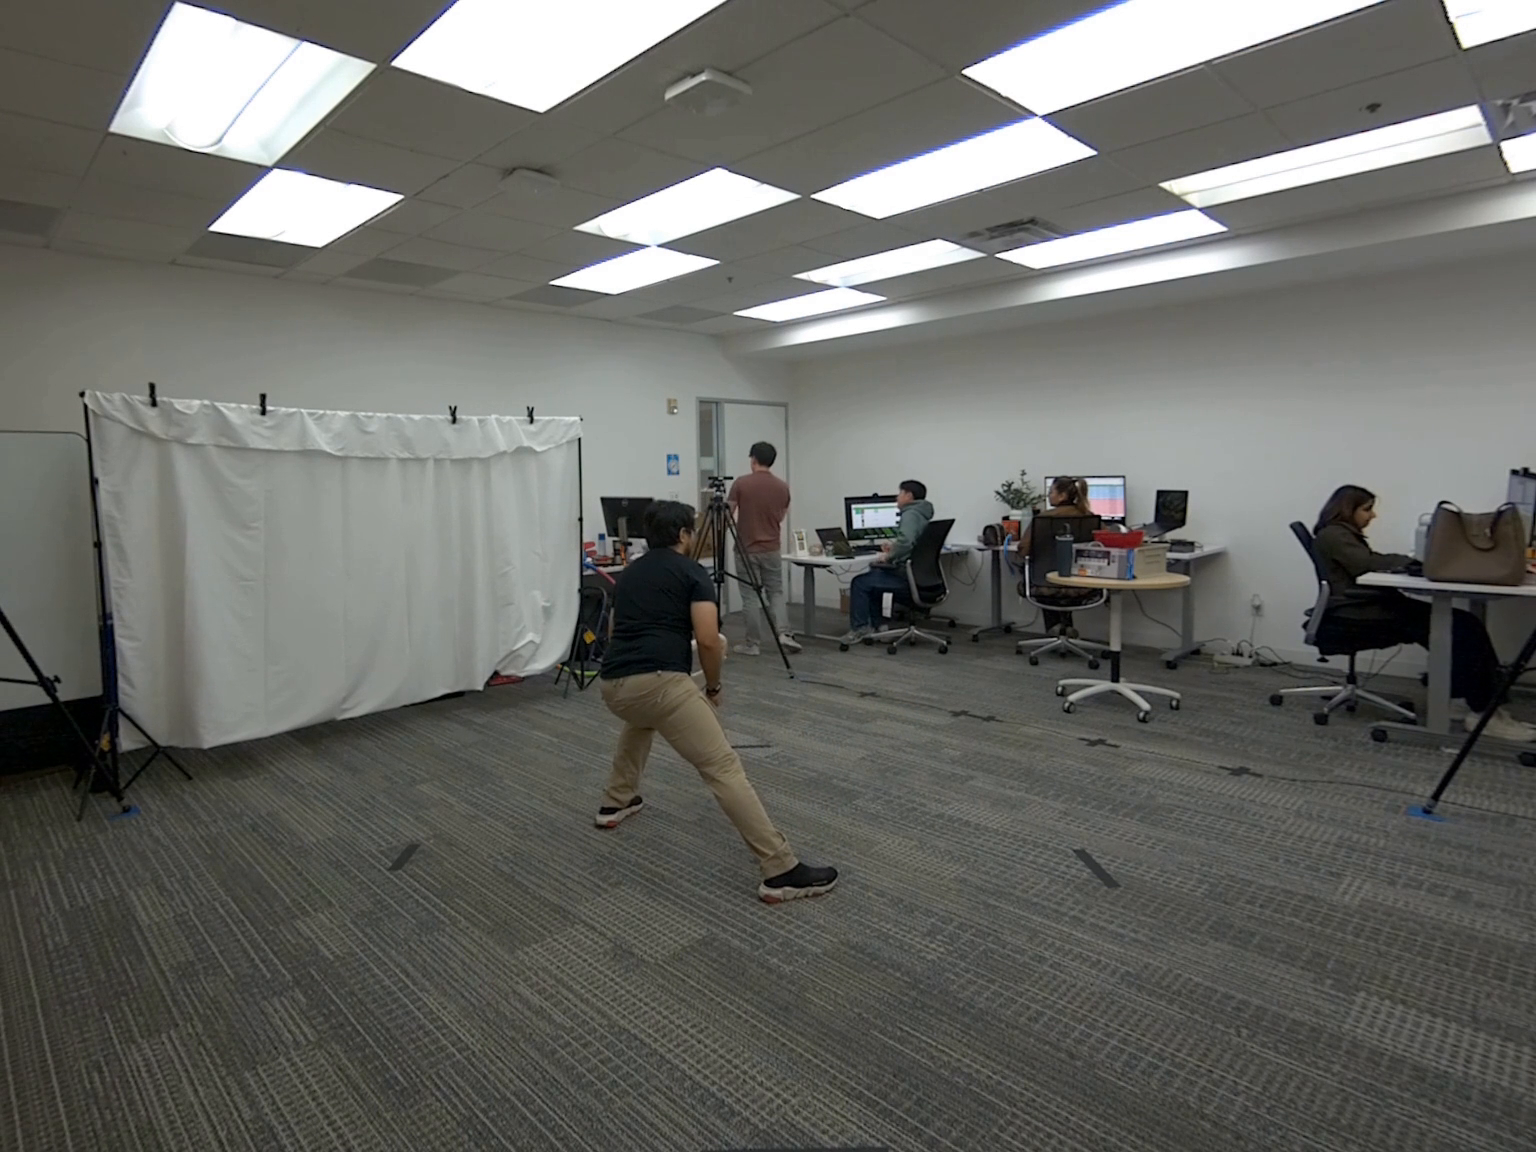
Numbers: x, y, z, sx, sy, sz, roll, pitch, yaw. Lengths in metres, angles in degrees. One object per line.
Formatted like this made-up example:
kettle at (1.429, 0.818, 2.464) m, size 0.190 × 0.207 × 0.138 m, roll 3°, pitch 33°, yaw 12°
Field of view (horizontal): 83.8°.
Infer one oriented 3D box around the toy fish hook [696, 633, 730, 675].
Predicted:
toy fish hook at (-0.387, 0.405, 3.963) m, size 0.496 × 0.221 × 0.050 m, roll -14°, pitch 21°, yaw -34°
